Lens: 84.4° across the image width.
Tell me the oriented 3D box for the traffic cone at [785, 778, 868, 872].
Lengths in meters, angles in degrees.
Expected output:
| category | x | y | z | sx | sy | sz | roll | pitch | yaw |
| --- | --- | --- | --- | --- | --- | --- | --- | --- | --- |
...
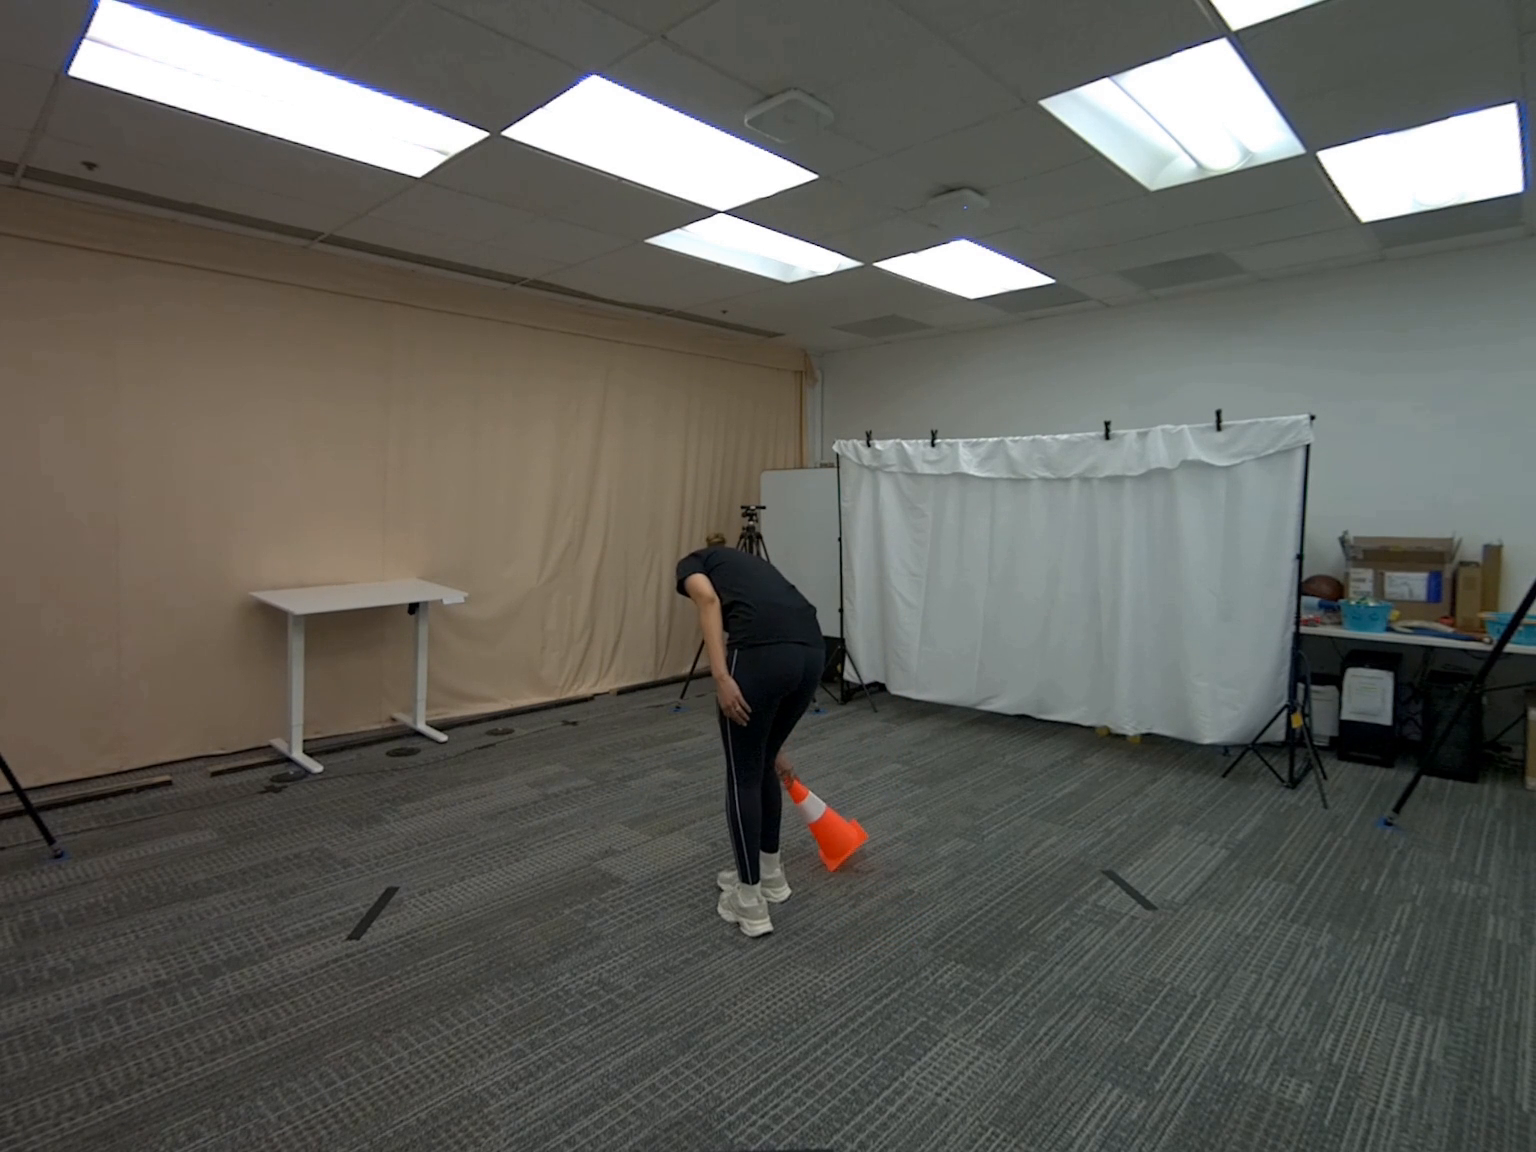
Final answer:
| category | x | y | z | sx | sy | sz | roll | pitch | yaw |
| --- | --- | --- | --- | --- | --- | --- | --- | --- | --- |
| traffic cone | 0.172 | 0.914 | 3.271 | 0.205 | 0.381 | 0.205 | -42 | 5 | -2 |
